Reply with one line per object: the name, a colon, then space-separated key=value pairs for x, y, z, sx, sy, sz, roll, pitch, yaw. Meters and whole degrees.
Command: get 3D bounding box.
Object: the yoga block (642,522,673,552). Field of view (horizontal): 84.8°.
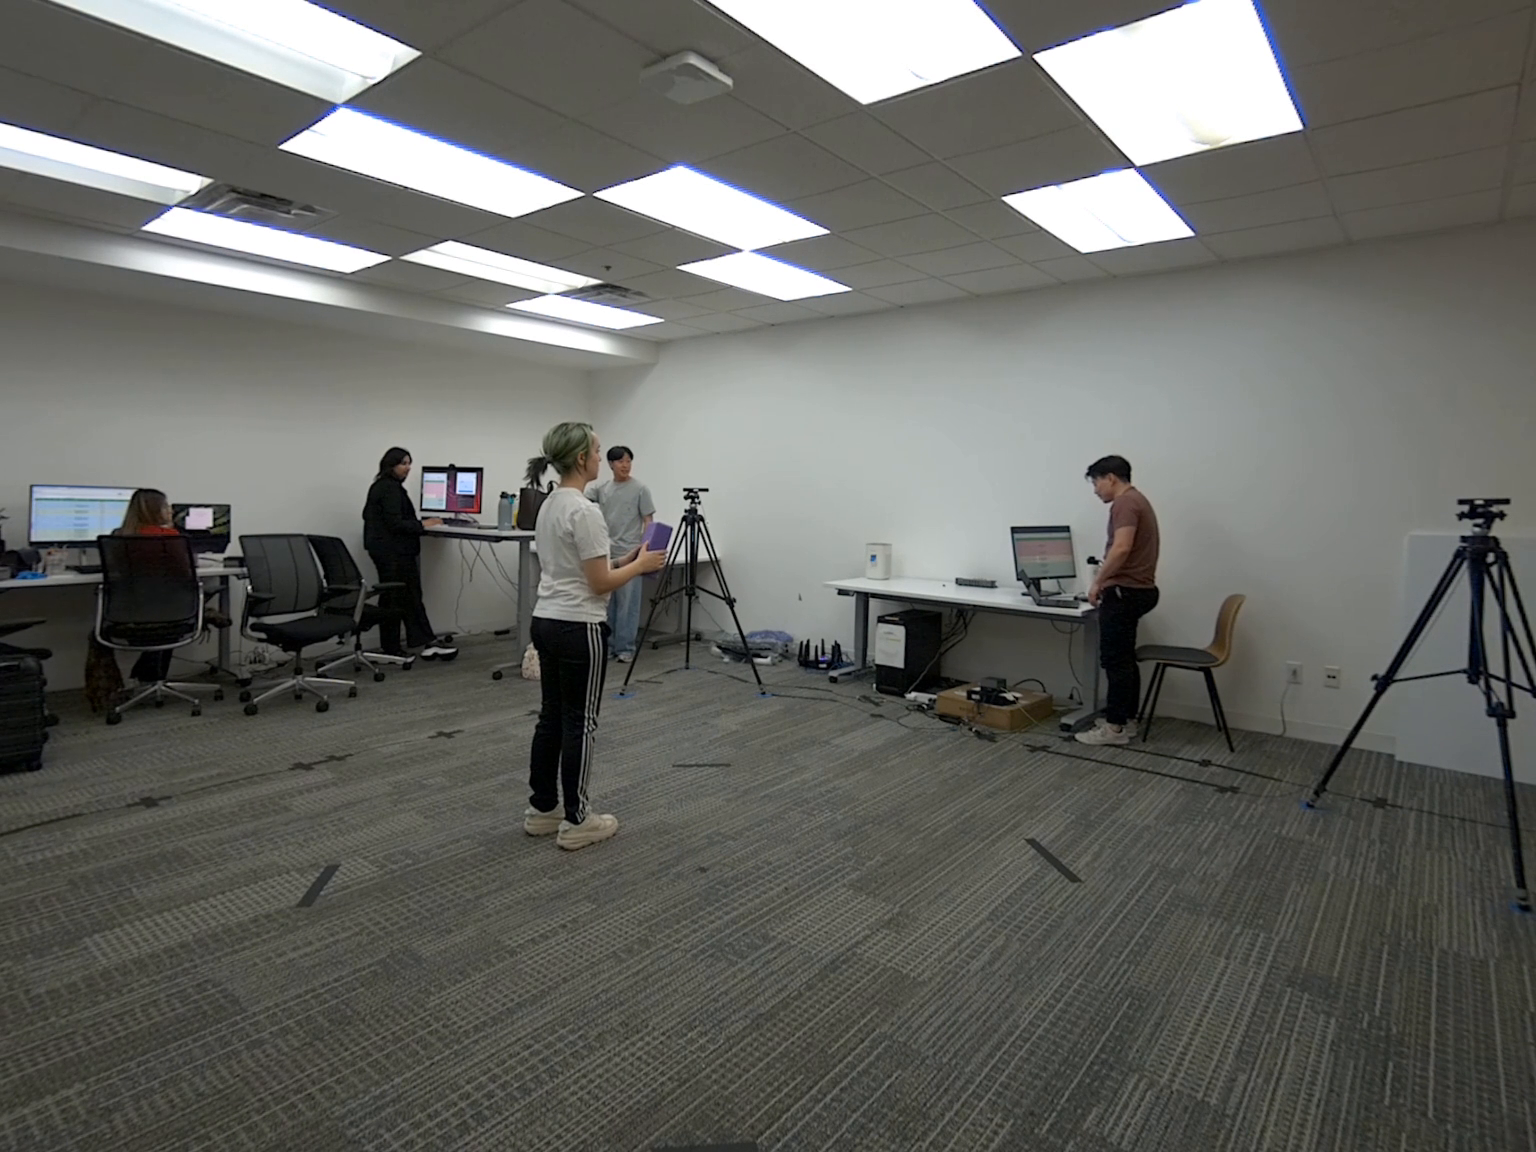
yoga block: x=-0.491 y=-0.109 z=3.526 sx=0.075 sy=0.230 sz=0.152 roll=20 pitch=-6 yaw=-18
